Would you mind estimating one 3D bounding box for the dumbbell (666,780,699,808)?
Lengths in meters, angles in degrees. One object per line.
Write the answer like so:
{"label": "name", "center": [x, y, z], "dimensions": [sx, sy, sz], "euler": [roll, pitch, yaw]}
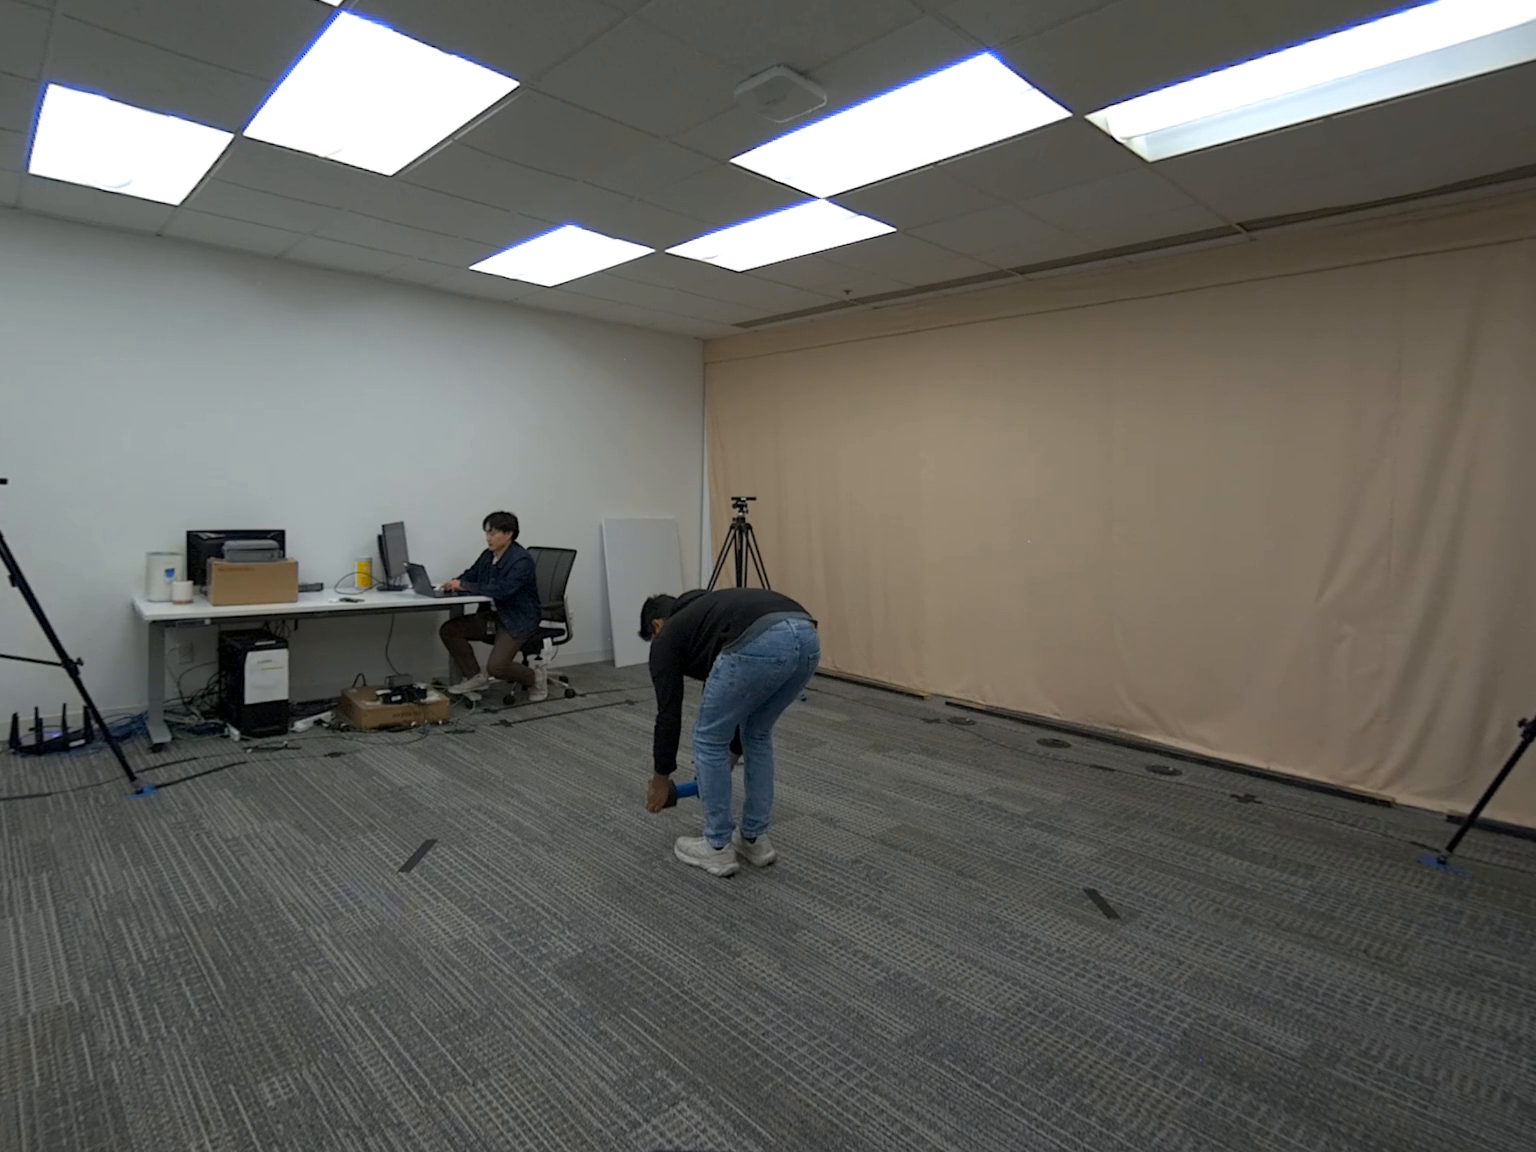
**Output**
{"label": "dumbbell", "center": [-0.343, 0.873, 3.455], "dimensions": [0.287, 0.110, 0.124], "euler": [-2, -15, -36]}
